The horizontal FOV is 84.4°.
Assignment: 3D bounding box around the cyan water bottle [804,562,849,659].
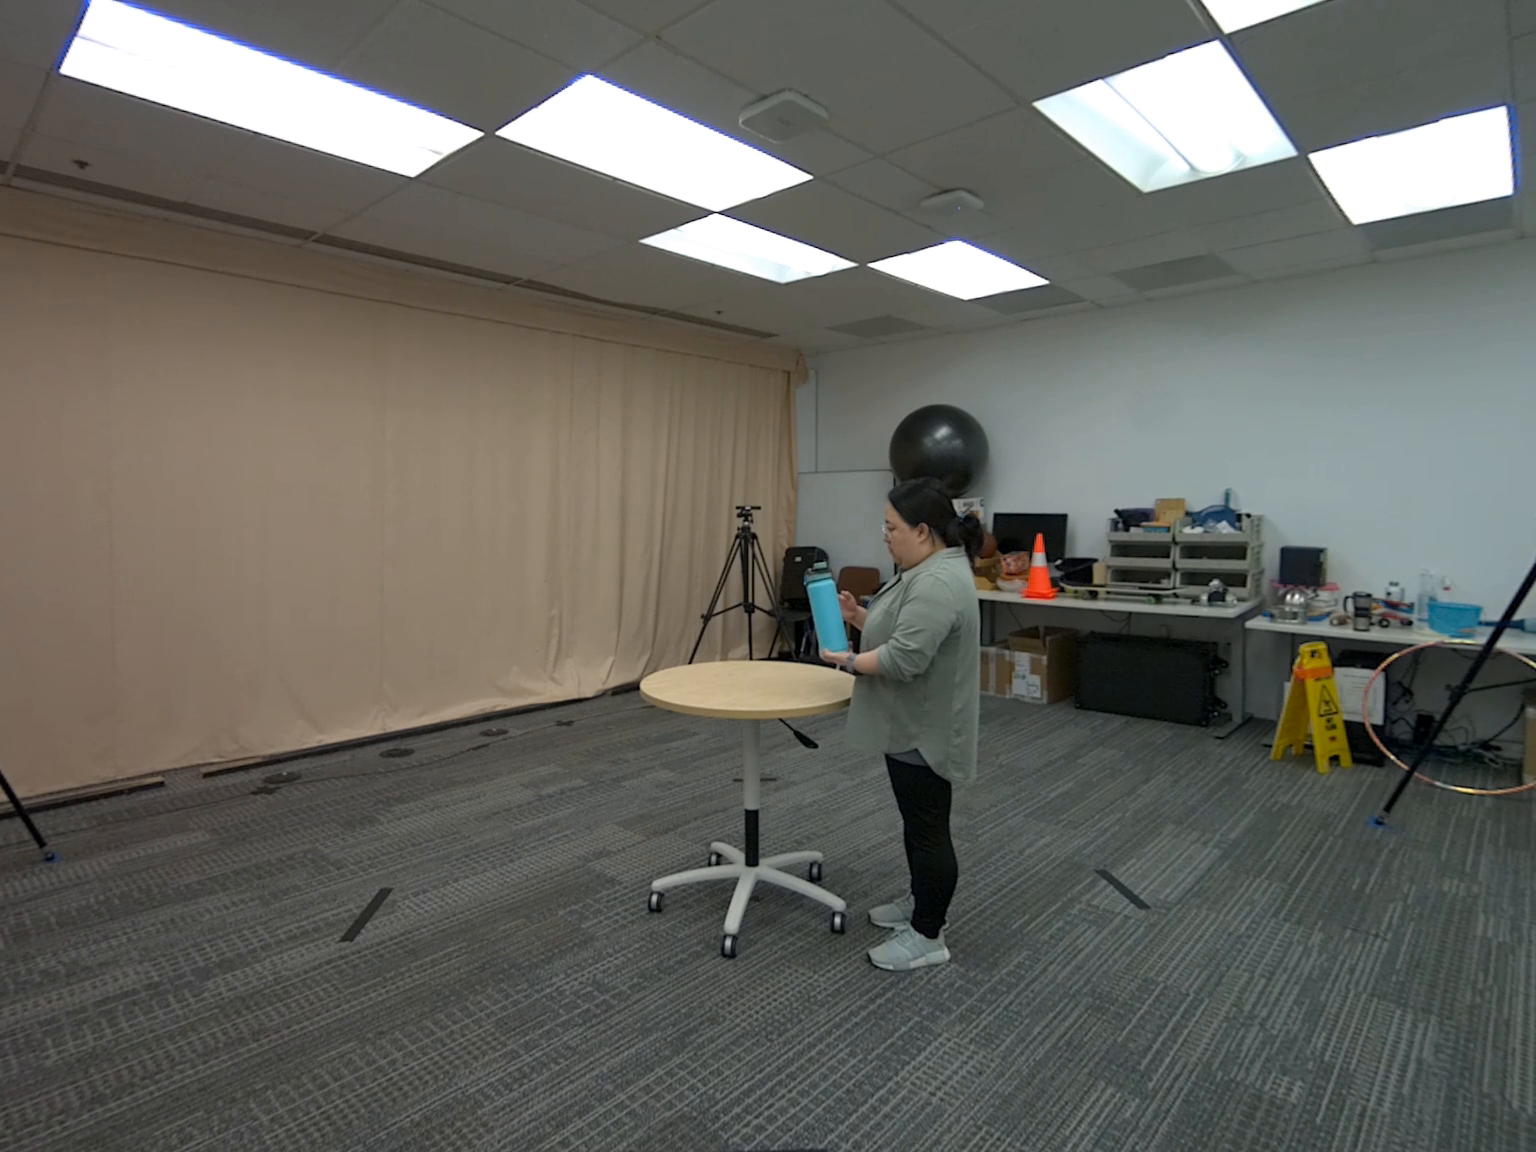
[{"bbox_3d":[0.188,0.105,2.627,0.092,0.284,0.092,-12,-4,-2],"label":"cyan water bottle"}]
